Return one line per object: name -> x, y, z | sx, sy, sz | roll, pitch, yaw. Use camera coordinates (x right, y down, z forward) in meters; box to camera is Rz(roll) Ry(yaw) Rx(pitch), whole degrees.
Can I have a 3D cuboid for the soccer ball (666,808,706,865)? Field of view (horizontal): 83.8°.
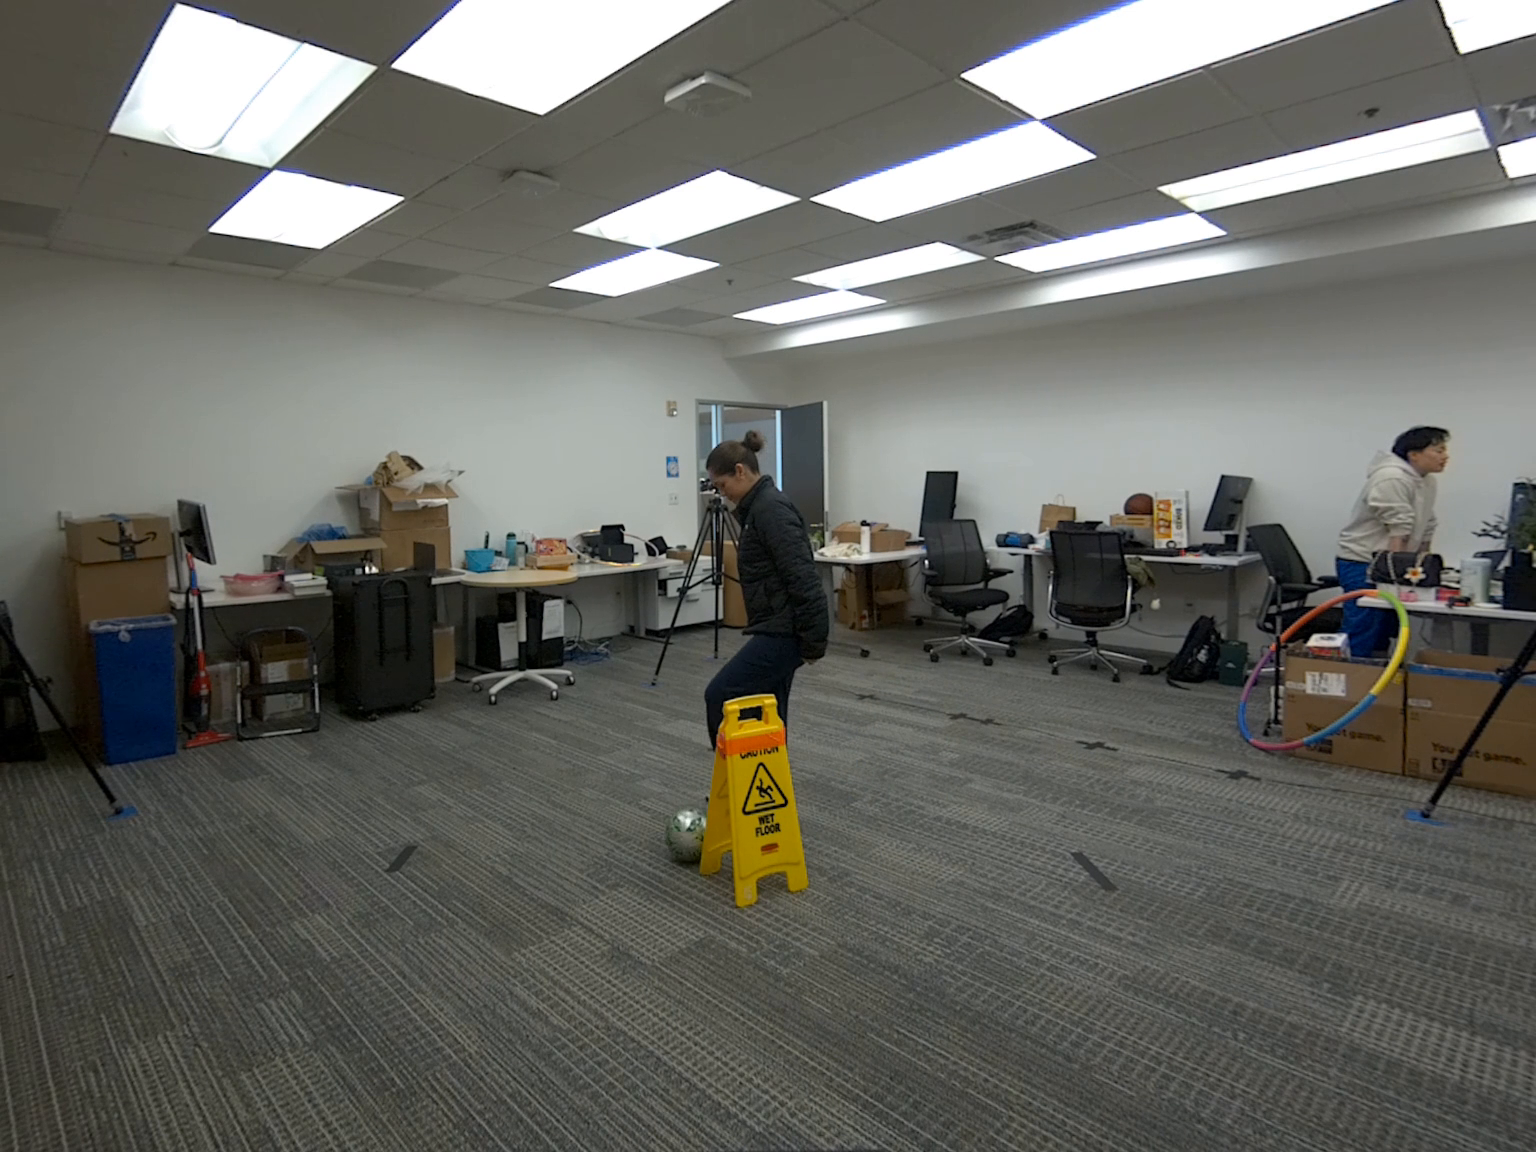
soccer ball -> -0.284, 0.951, 3.143 | 0.187, 0.187, 0.188 | -1, 5, -2
